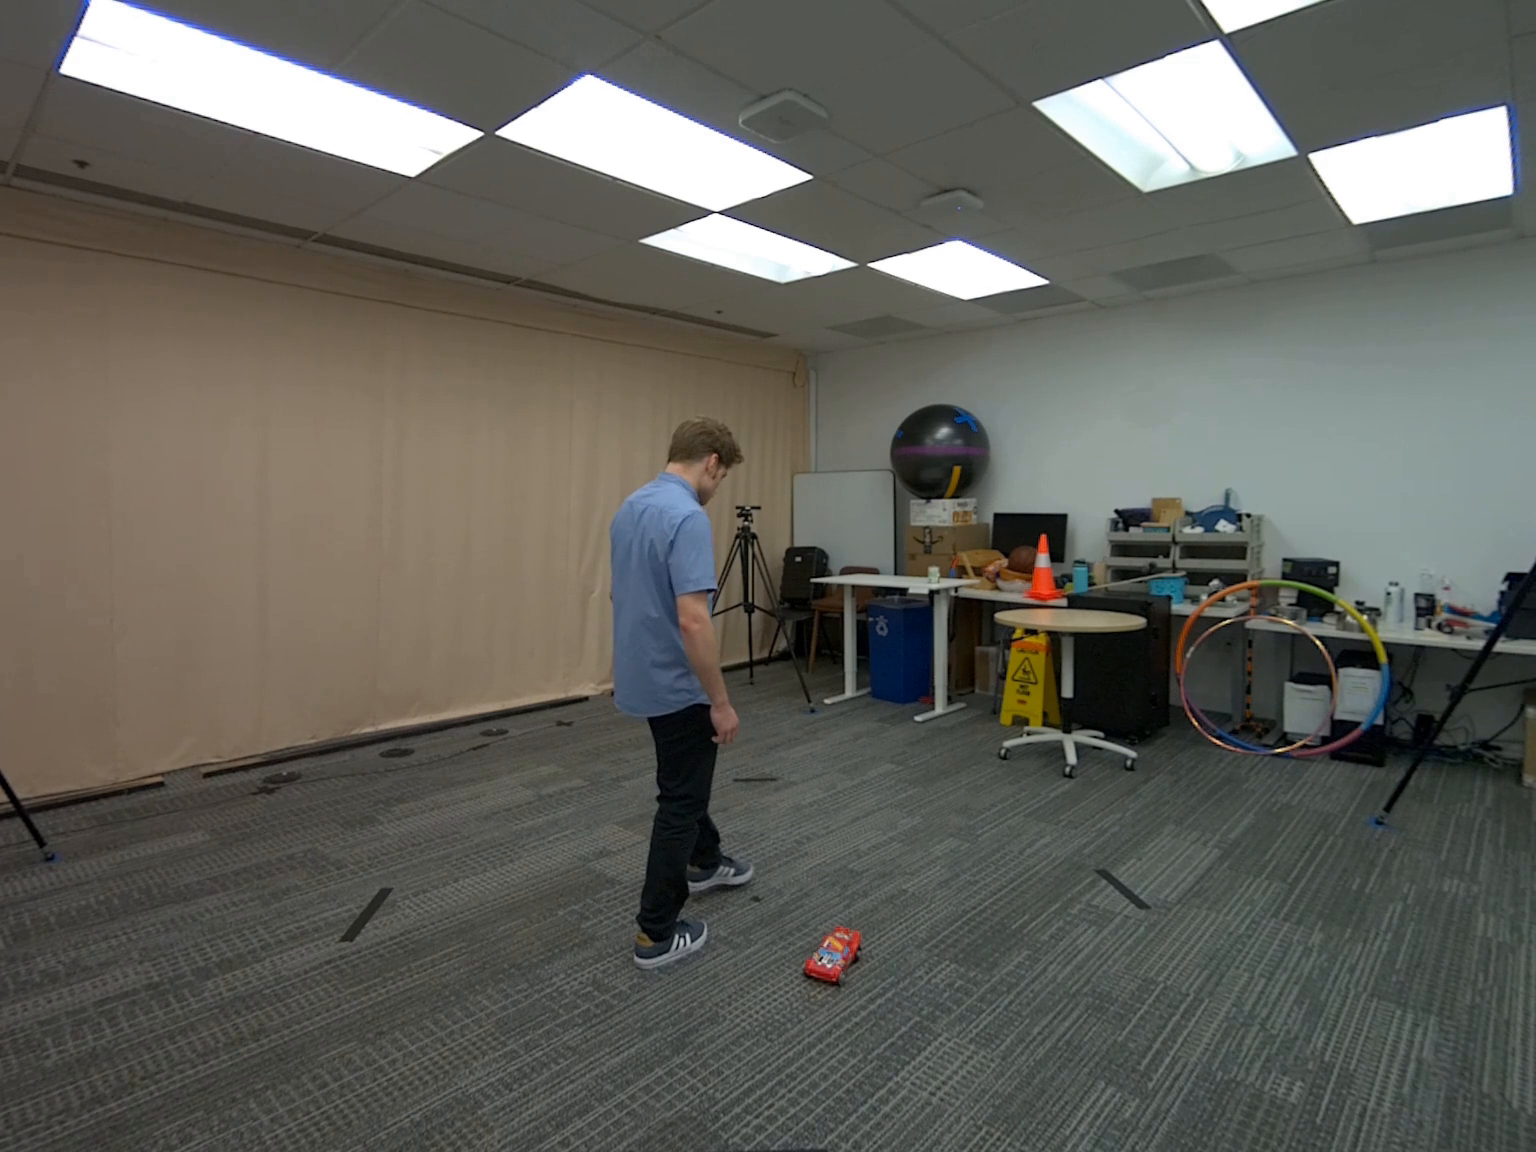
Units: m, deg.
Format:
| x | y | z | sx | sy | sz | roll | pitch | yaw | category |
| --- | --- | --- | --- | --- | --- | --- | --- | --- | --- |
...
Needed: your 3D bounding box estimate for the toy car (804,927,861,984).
| x | y | z | sx | sy | sz | roll | pitch | yaw | category |
| --- | --- | --- | --- | --- | --- | --- | --- | --- | --- |
| 0.211 | 1.150 | 2.546 | 0.134 | 0.082 | 0.250 | 2 | 16 | 27 | toy car |
